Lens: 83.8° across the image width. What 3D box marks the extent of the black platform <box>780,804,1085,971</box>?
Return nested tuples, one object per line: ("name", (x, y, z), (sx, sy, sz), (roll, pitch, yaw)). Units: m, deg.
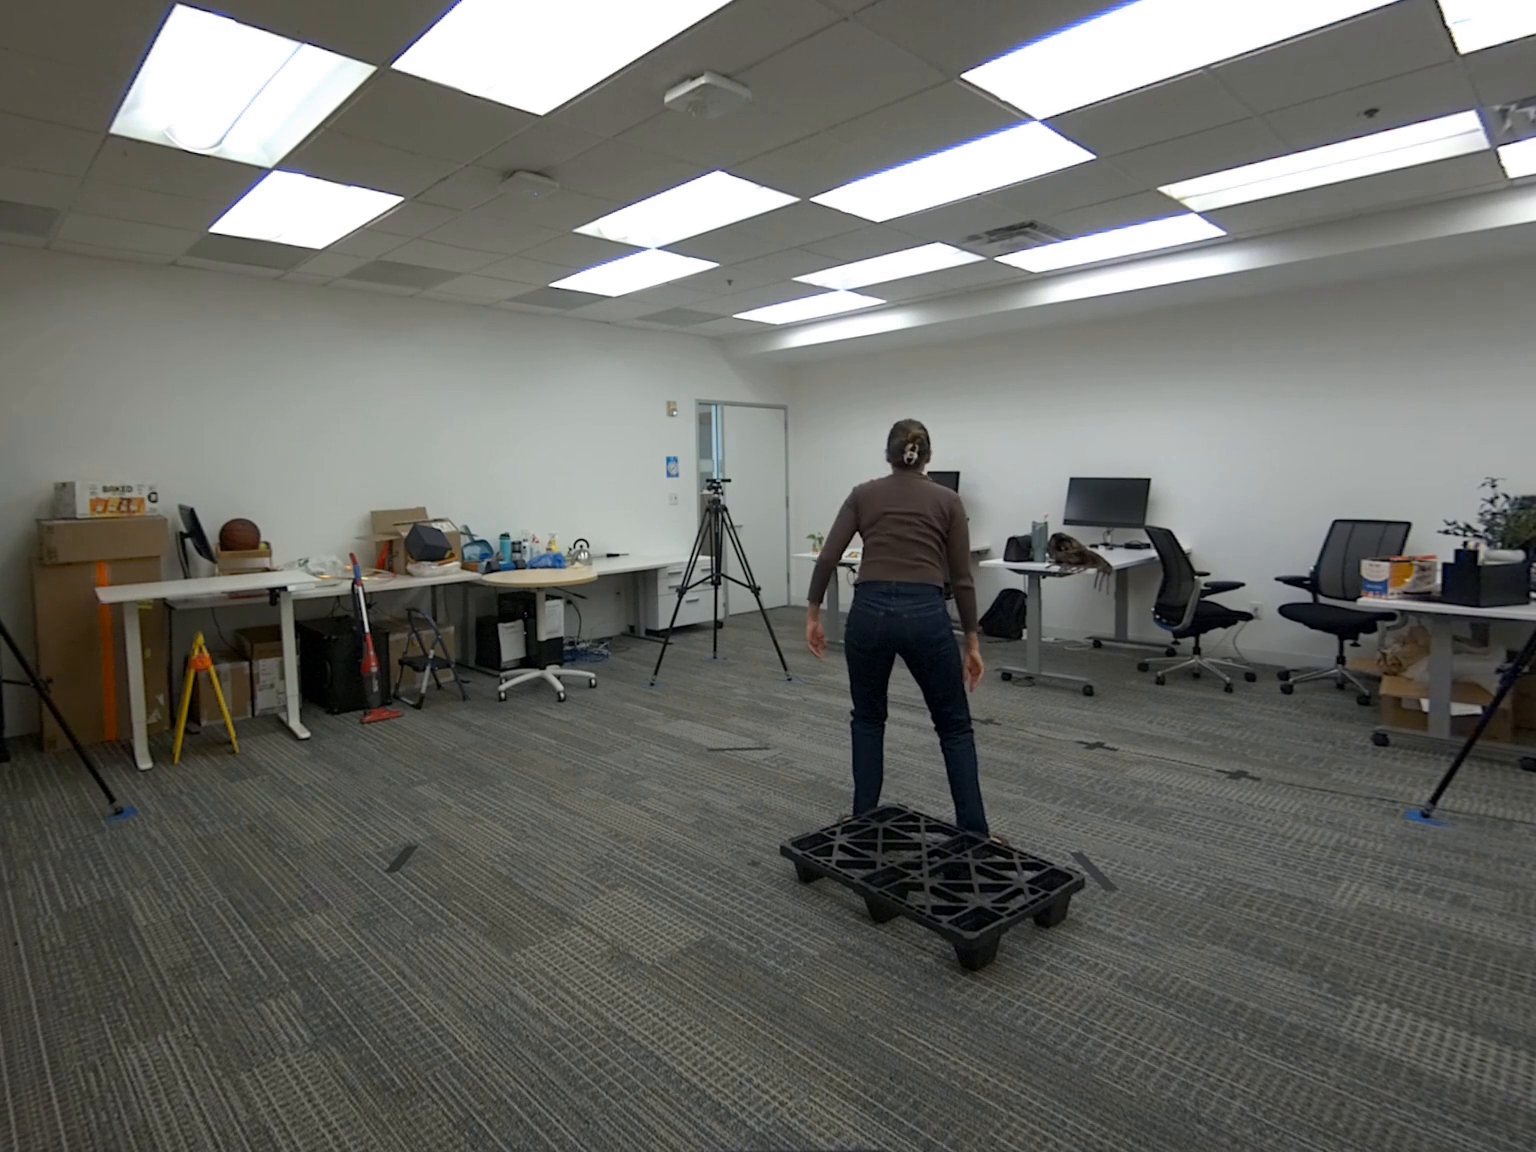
("black platform", (0.521, 1.002, 2.816), (0.590, 0.142, 0.830), (-7, 9, -38))
